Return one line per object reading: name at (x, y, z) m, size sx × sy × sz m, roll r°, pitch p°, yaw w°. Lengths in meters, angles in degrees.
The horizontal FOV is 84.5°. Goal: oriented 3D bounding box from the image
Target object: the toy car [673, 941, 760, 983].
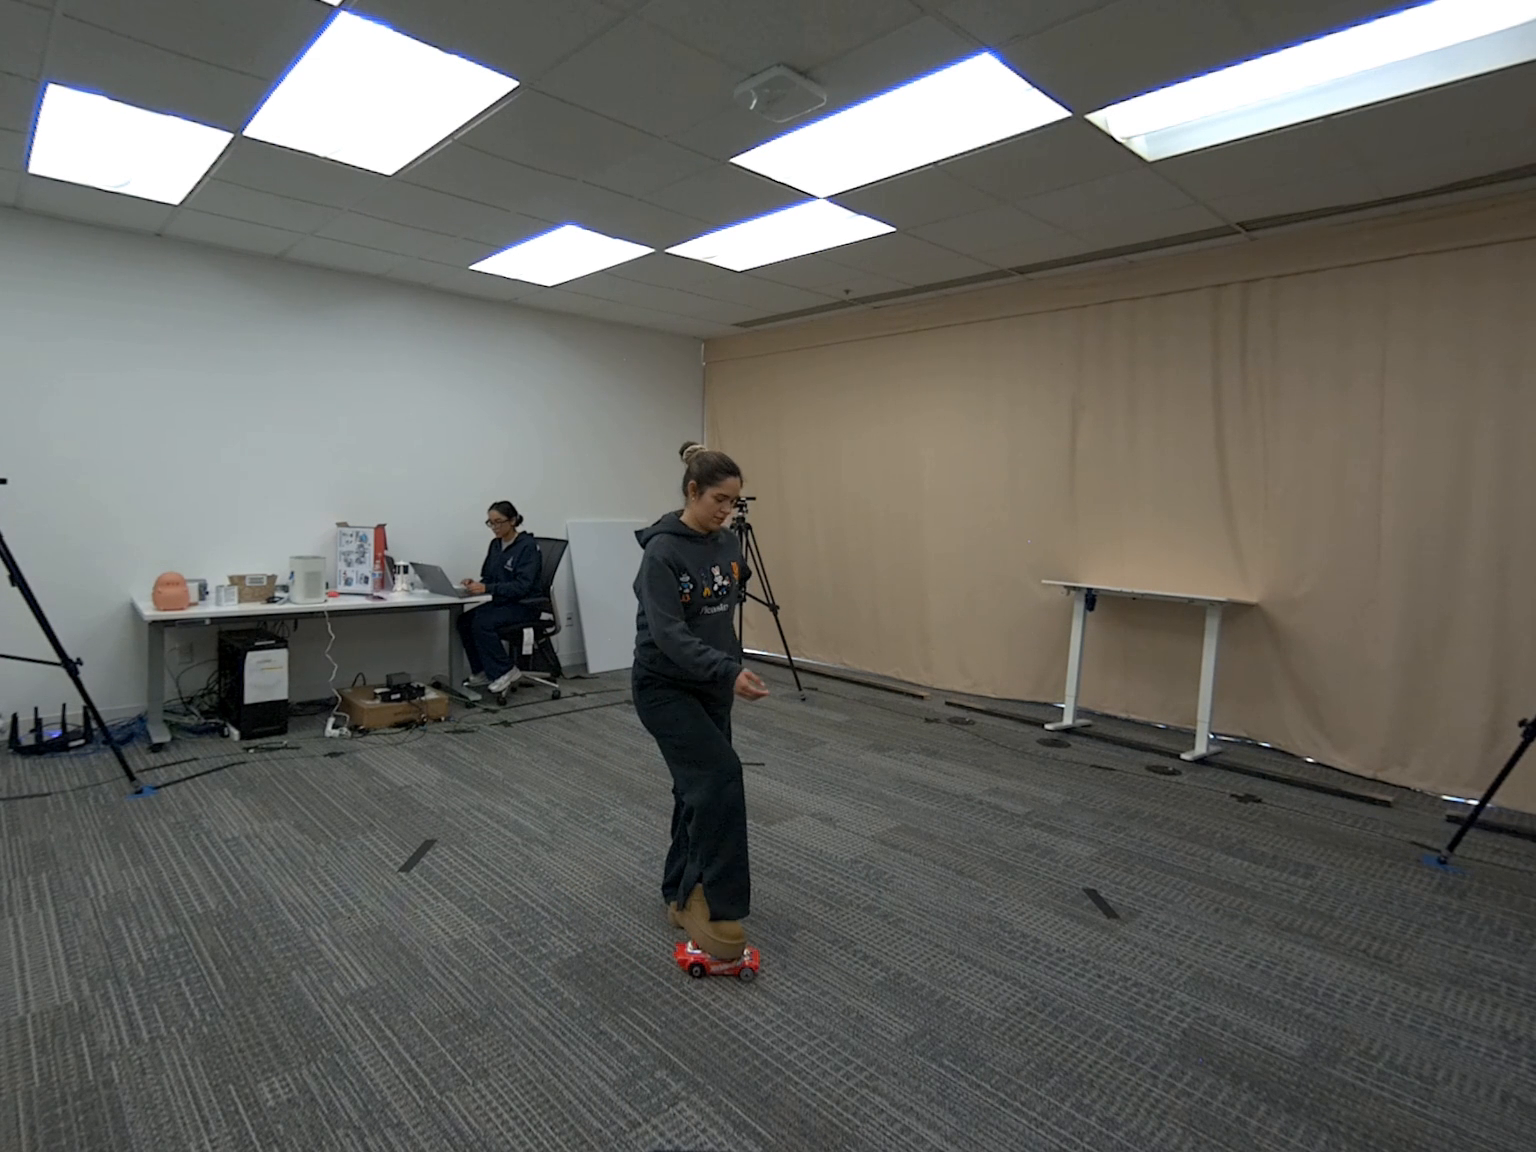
toy car at (-0.160, 1.140, 2.491) m, size 0.254 × 0.083 × 0.131 m, roll 12°, pitch 4°, yaw -1°
